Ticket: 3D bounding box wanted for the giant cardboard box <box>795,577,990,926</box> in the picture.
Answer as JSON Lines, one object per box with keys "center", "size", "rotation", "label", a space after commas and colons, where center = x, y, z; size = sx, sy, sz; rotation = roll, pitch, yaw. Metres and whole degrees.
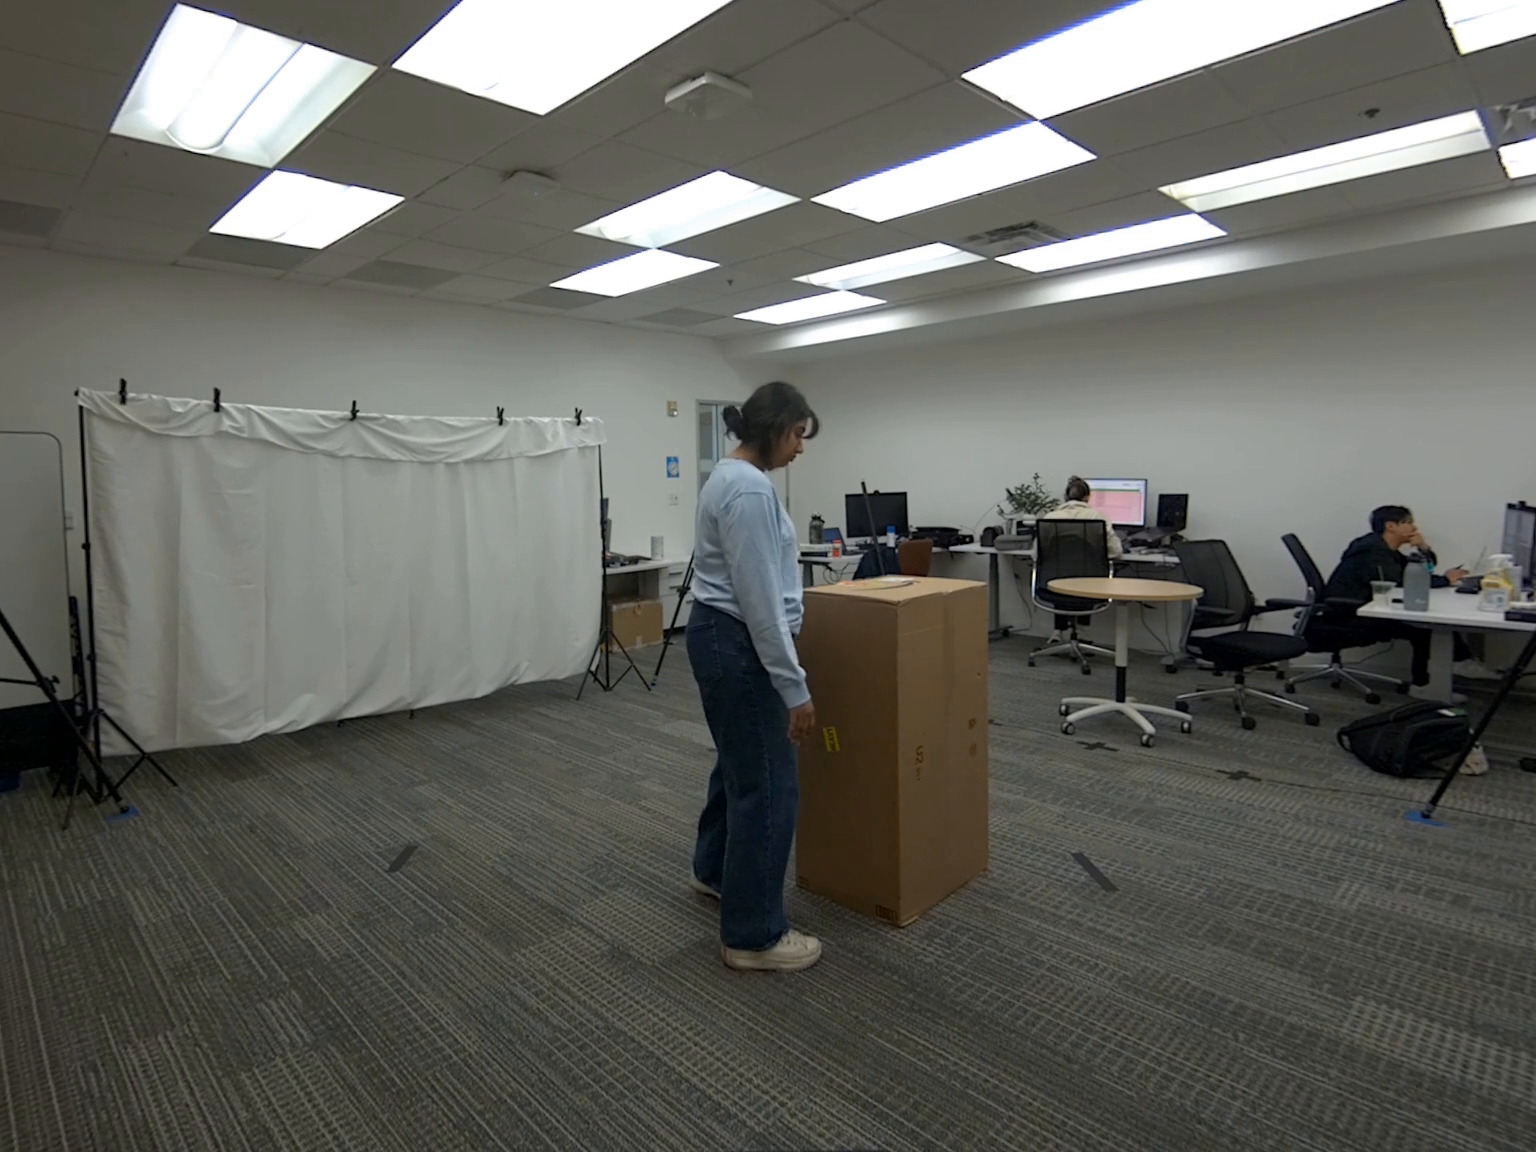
{"center": [0.438, 0.544, 2.962], "size": [0.460, 1.024, 0.568], "rotation": [2, 5, 44], "label": "giant cardboard box"}
